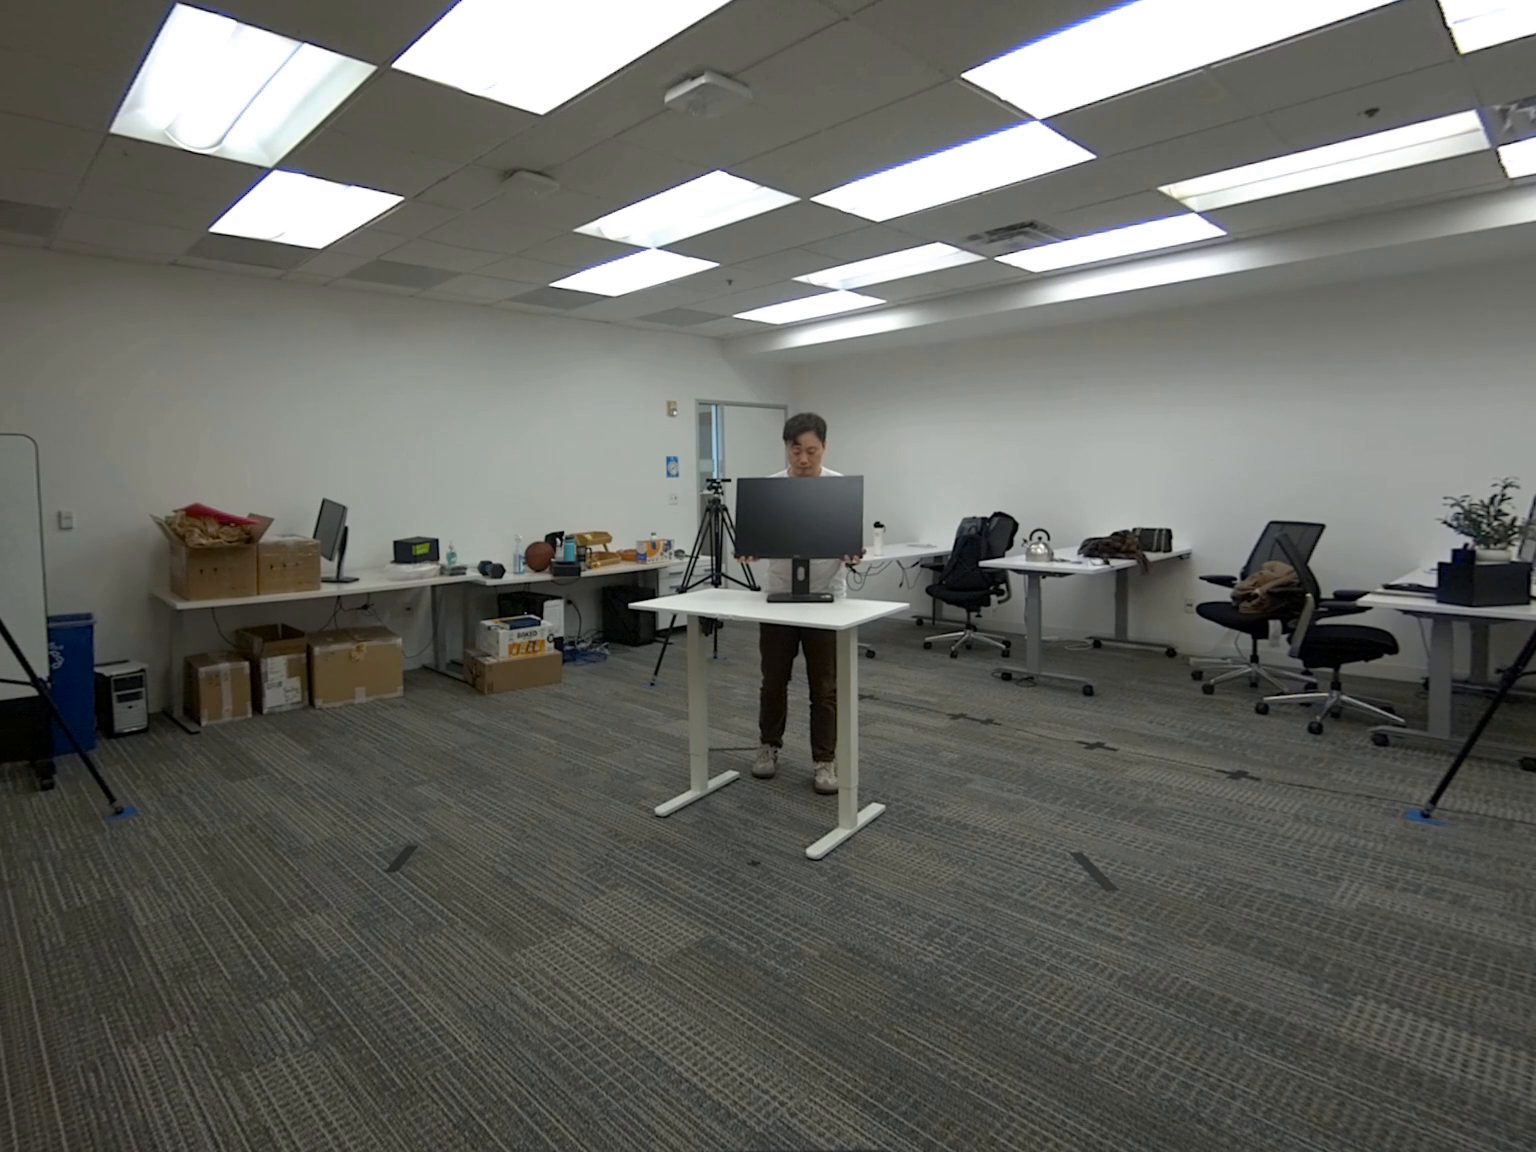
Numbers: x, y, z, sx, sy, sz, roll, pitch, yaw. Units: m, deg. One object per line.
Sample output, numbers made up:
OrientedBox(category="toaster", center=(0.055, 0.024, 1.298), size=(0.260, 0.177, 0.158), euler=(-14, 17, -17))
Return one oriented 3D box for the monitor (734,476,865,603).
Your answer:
OrientedBox(category="monitor", center=(0.129, -0.155, 3.610), size=(0.545, 0.521, 0.186), euler=(-1, 3, 10))
